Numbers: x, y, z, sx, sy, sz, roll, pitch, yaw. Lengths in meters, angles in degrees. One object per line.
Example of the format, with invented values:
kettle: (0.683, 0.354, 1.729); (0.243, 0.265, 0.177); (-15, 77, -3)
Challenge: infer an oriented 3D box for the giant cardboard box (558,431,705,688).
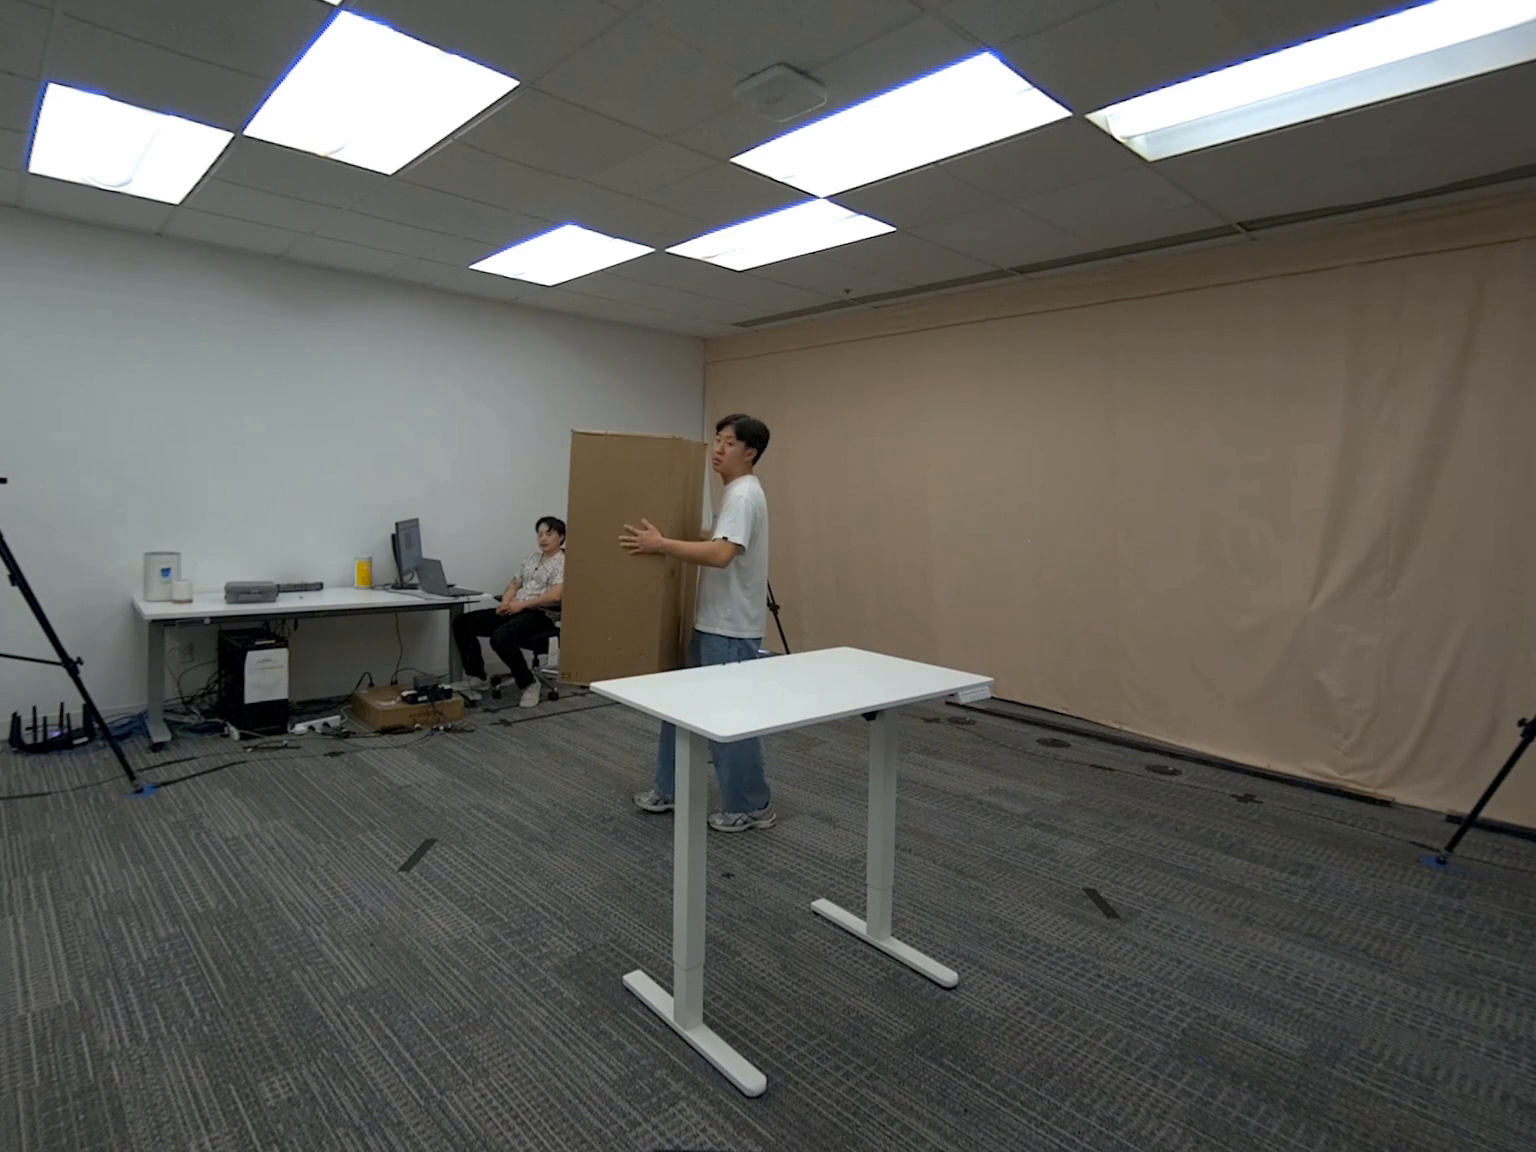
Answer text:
giant cardboard box: (-0.571, -0.079, 3.589); (0.430, 1.022, 0.574); (5, 5, 9)
